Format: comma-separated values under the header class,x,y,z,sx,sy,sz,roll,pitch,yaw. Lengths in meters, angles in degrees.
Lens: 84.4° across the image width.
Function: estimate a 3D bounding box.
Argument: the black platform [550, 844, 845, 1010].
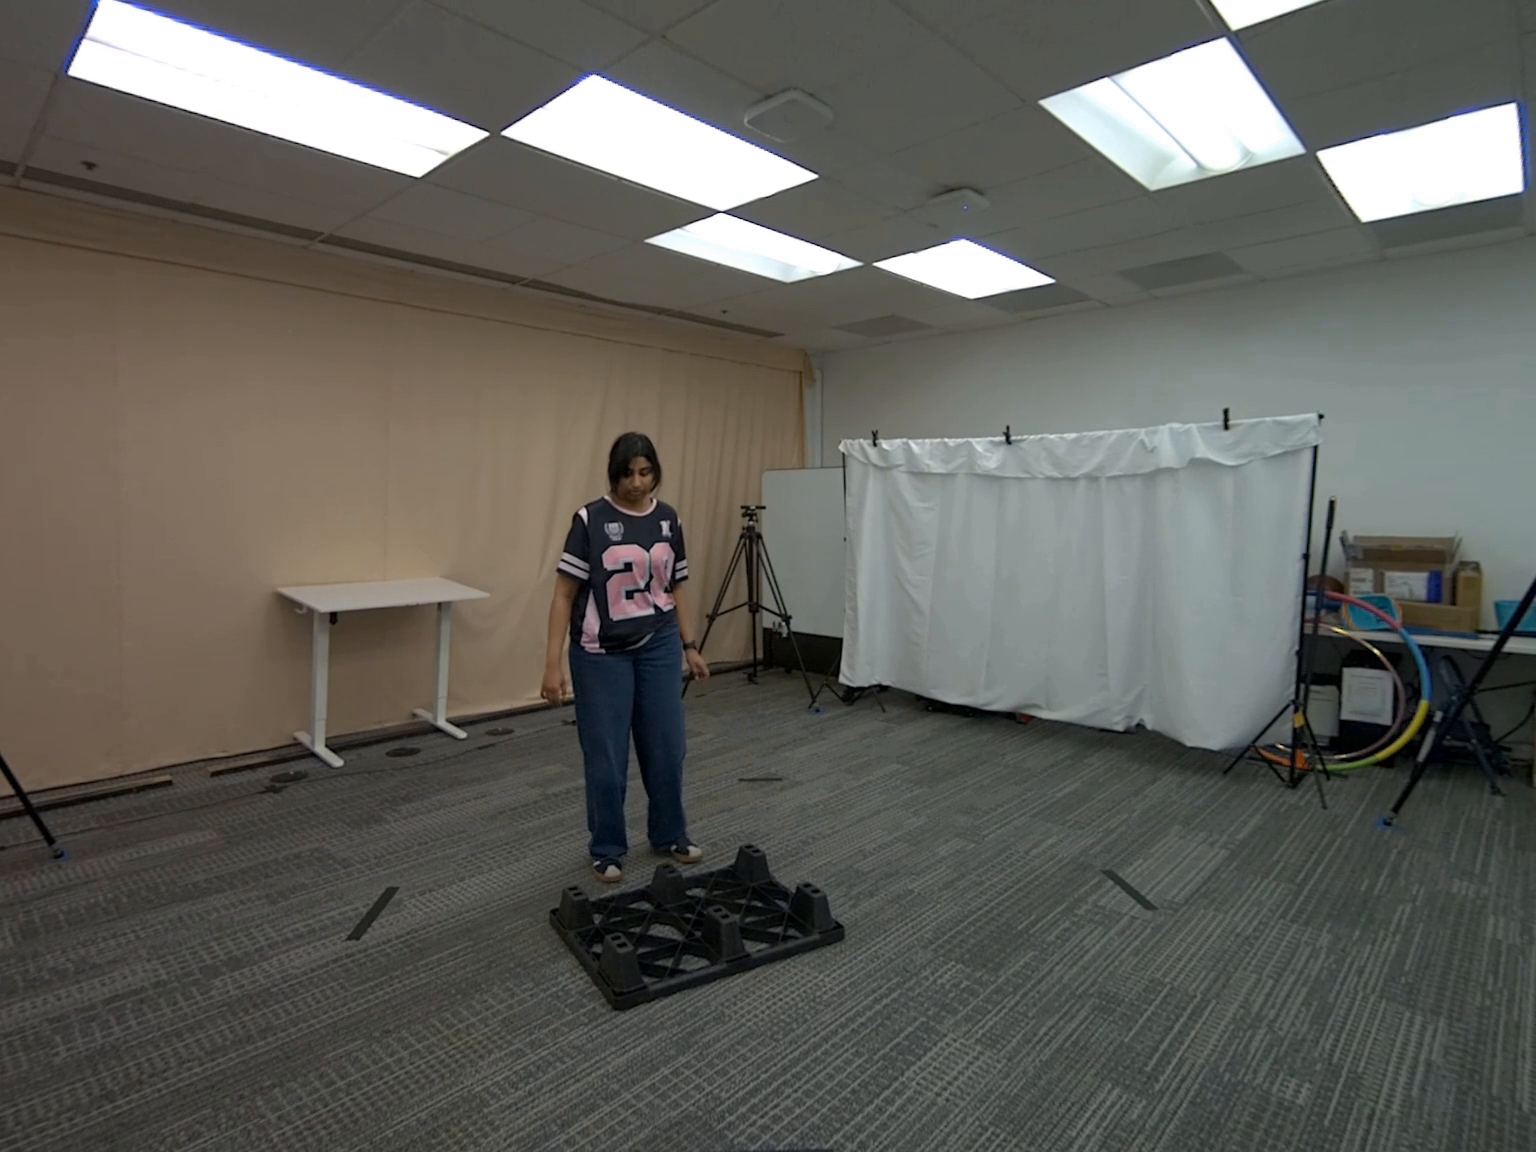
class,x,y,z,sx,sy,sz,roll,pitch,yaw
black platform,-0.236,1.098,2.767,0.784,0.143,0.623,-3,6,-31
